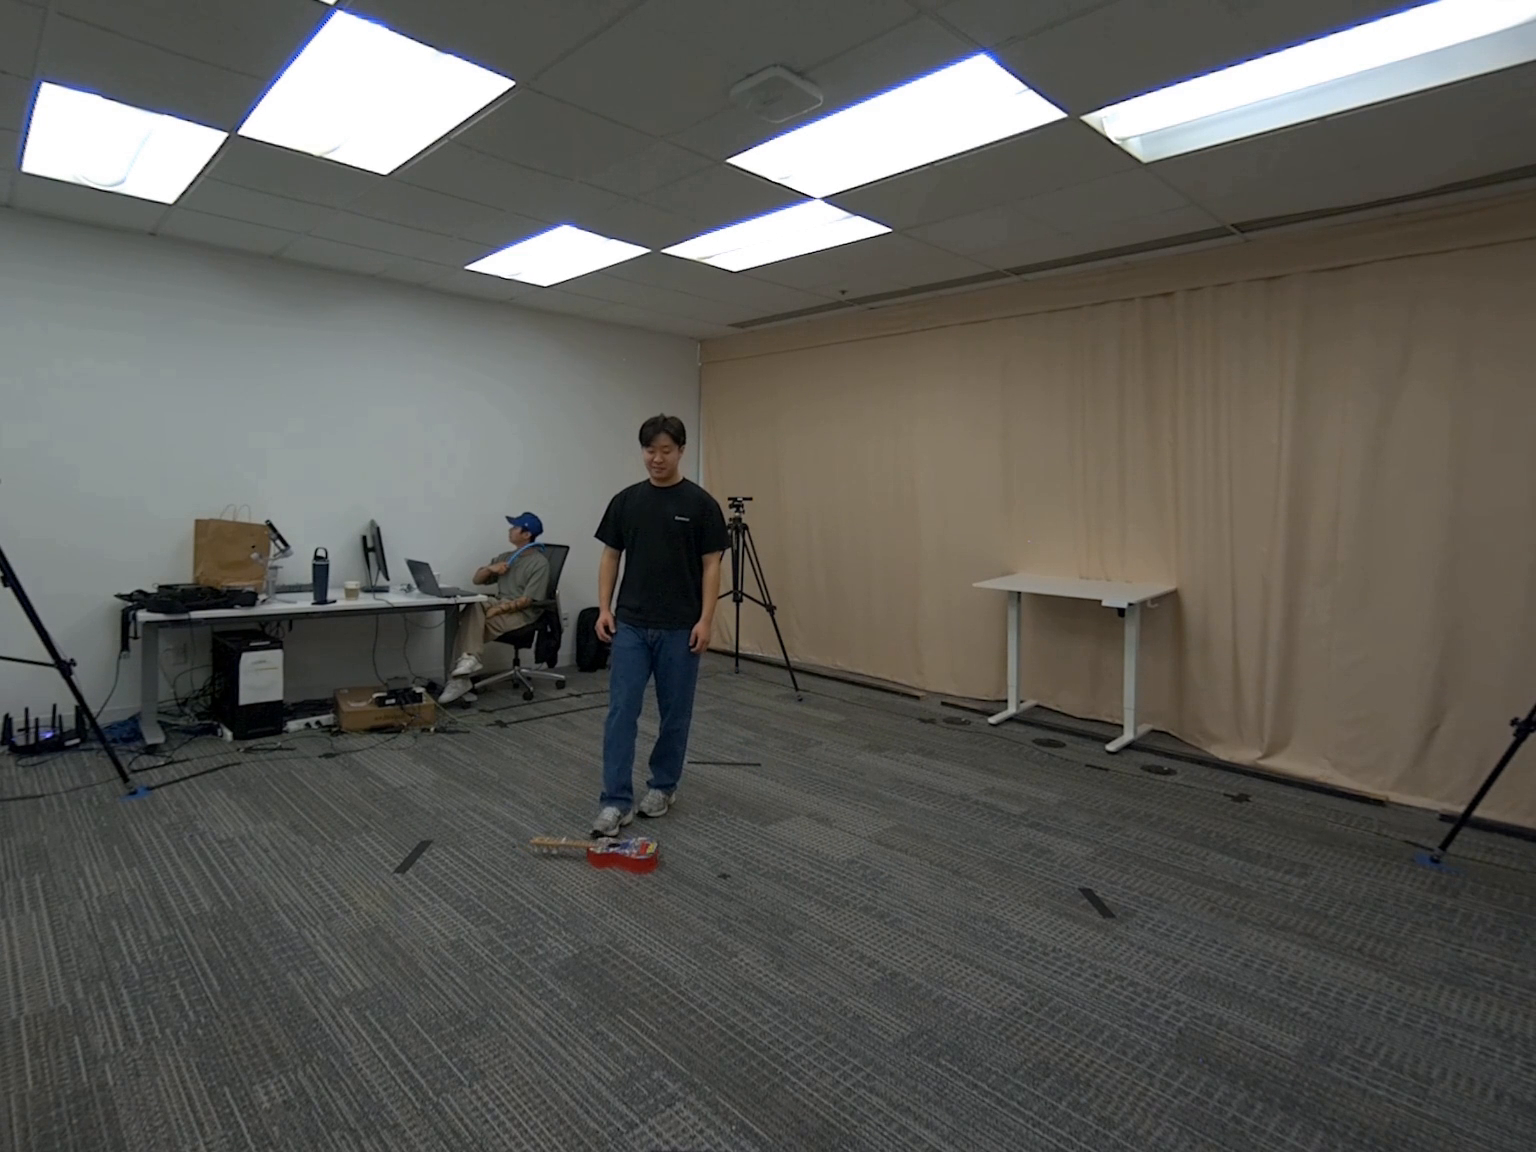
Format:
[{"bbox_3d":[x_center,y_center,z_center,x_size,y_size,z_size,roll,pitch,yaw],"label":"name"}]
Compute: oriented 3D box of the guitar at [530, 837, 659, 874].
[{"bbox_3d":[-0.672,1.048,3.242,0.503,0.070,0.191,4,6,13],"label":"guitar"}]
